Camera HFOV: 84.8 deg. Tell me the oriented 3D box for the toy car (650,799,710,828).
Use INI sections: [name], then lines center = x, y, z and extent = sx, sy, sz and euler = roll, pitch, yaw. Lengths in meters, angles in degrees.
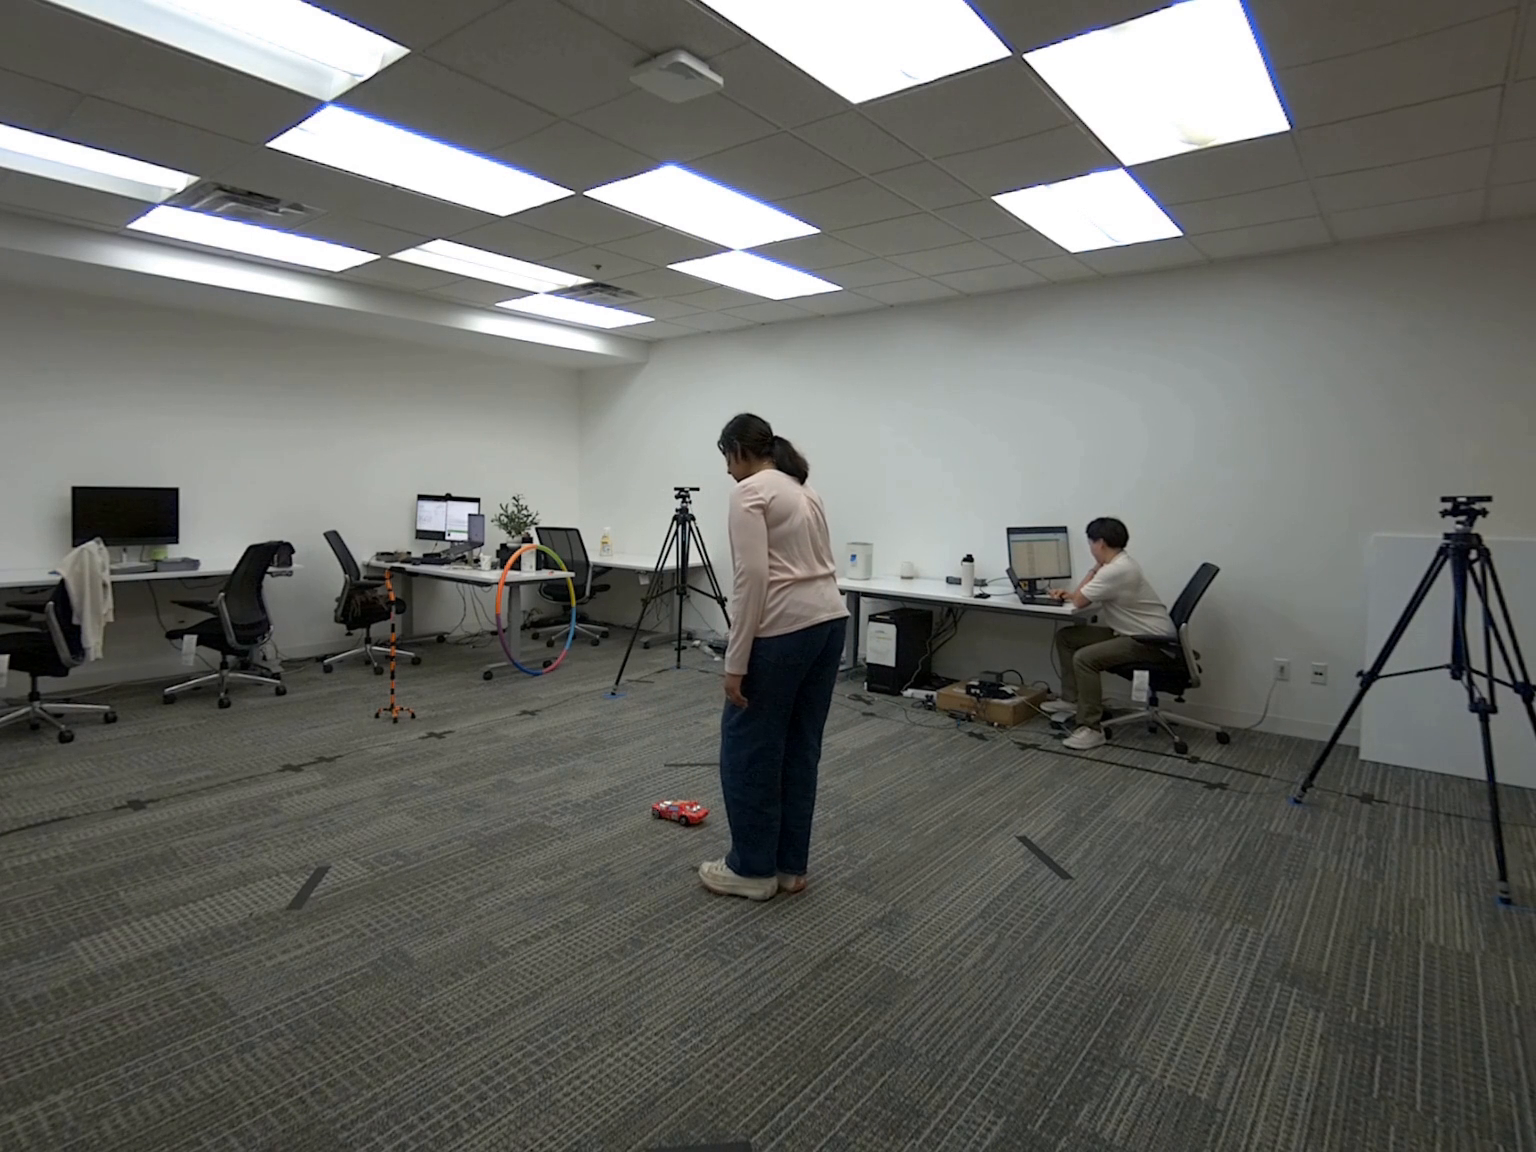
[toy car]
center = -0.374, 0.986, 3.568
extent = 0.261, 0.083, 0.127
euler = -8, -1, 32
